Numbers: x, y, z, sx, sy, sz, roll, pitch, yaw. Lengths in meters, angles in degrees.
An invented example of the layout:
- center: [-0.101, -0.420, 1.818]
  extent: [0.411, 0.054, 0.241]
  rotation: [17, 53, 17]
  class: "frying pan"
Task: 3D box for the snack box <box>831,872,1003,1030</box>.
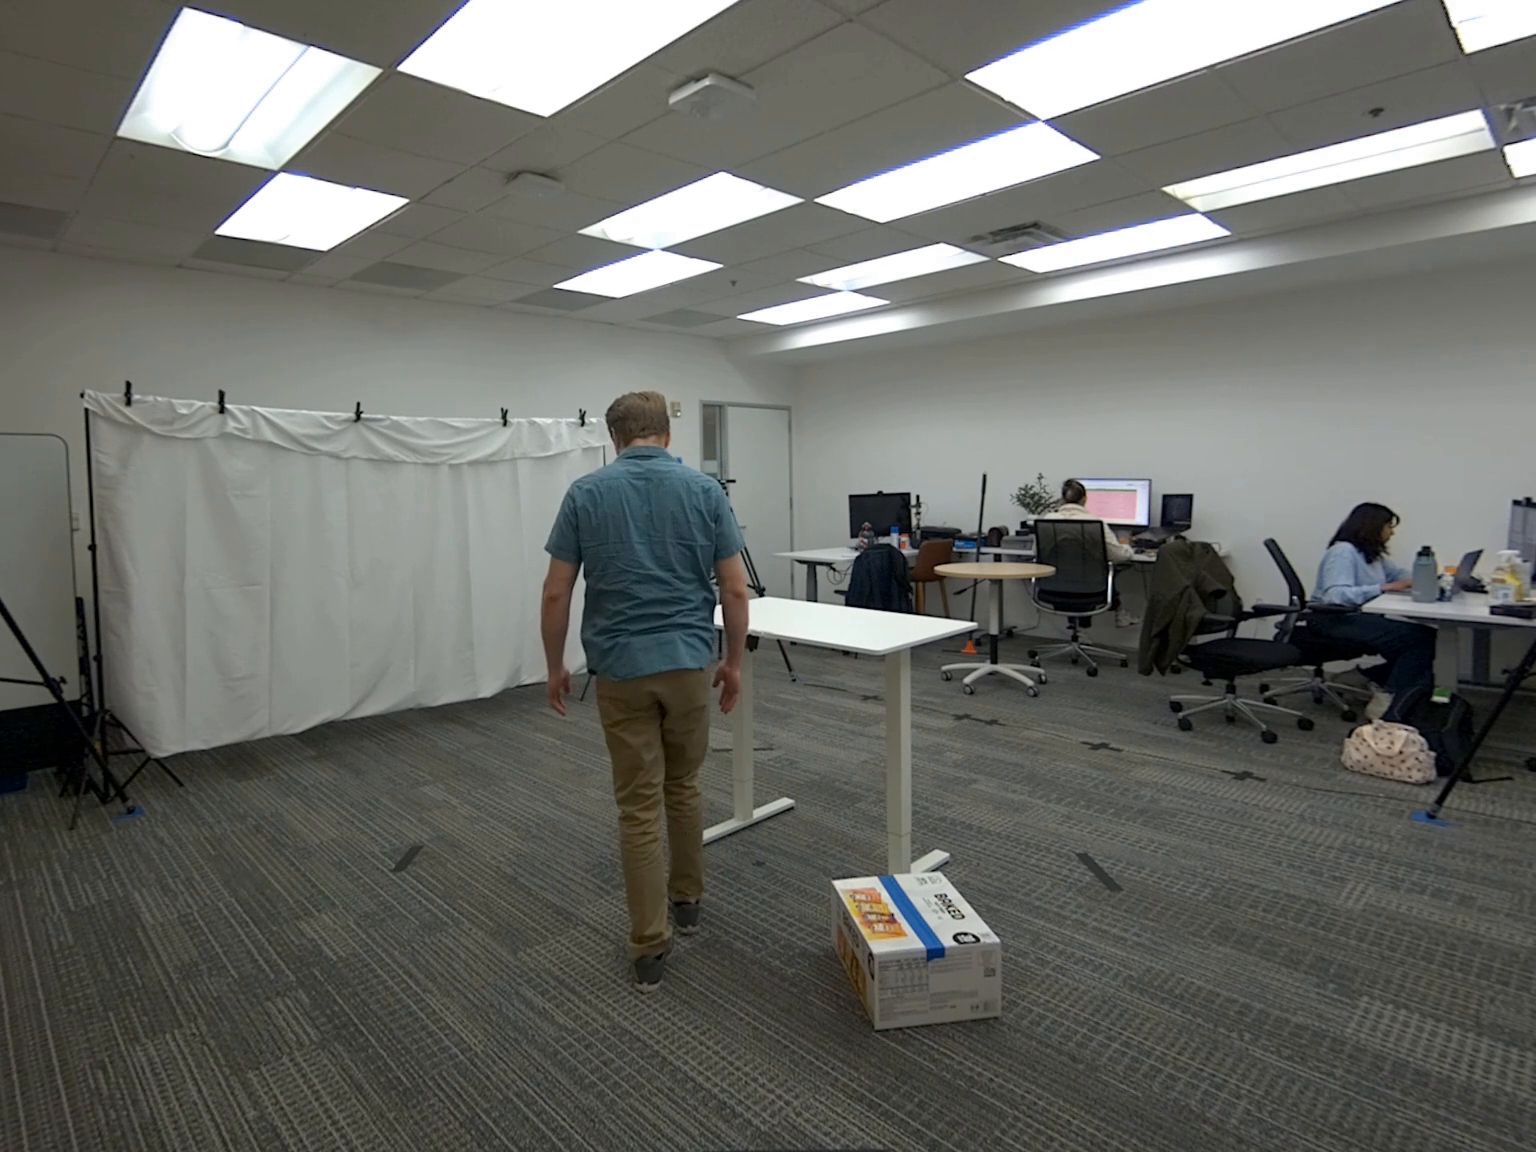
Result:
- center: [0.399, 1.023, 2.365]
  extent: [0.337, 0.205, 0.410]
  rotation: [-2, 6, -10]
  class: "snack box"
